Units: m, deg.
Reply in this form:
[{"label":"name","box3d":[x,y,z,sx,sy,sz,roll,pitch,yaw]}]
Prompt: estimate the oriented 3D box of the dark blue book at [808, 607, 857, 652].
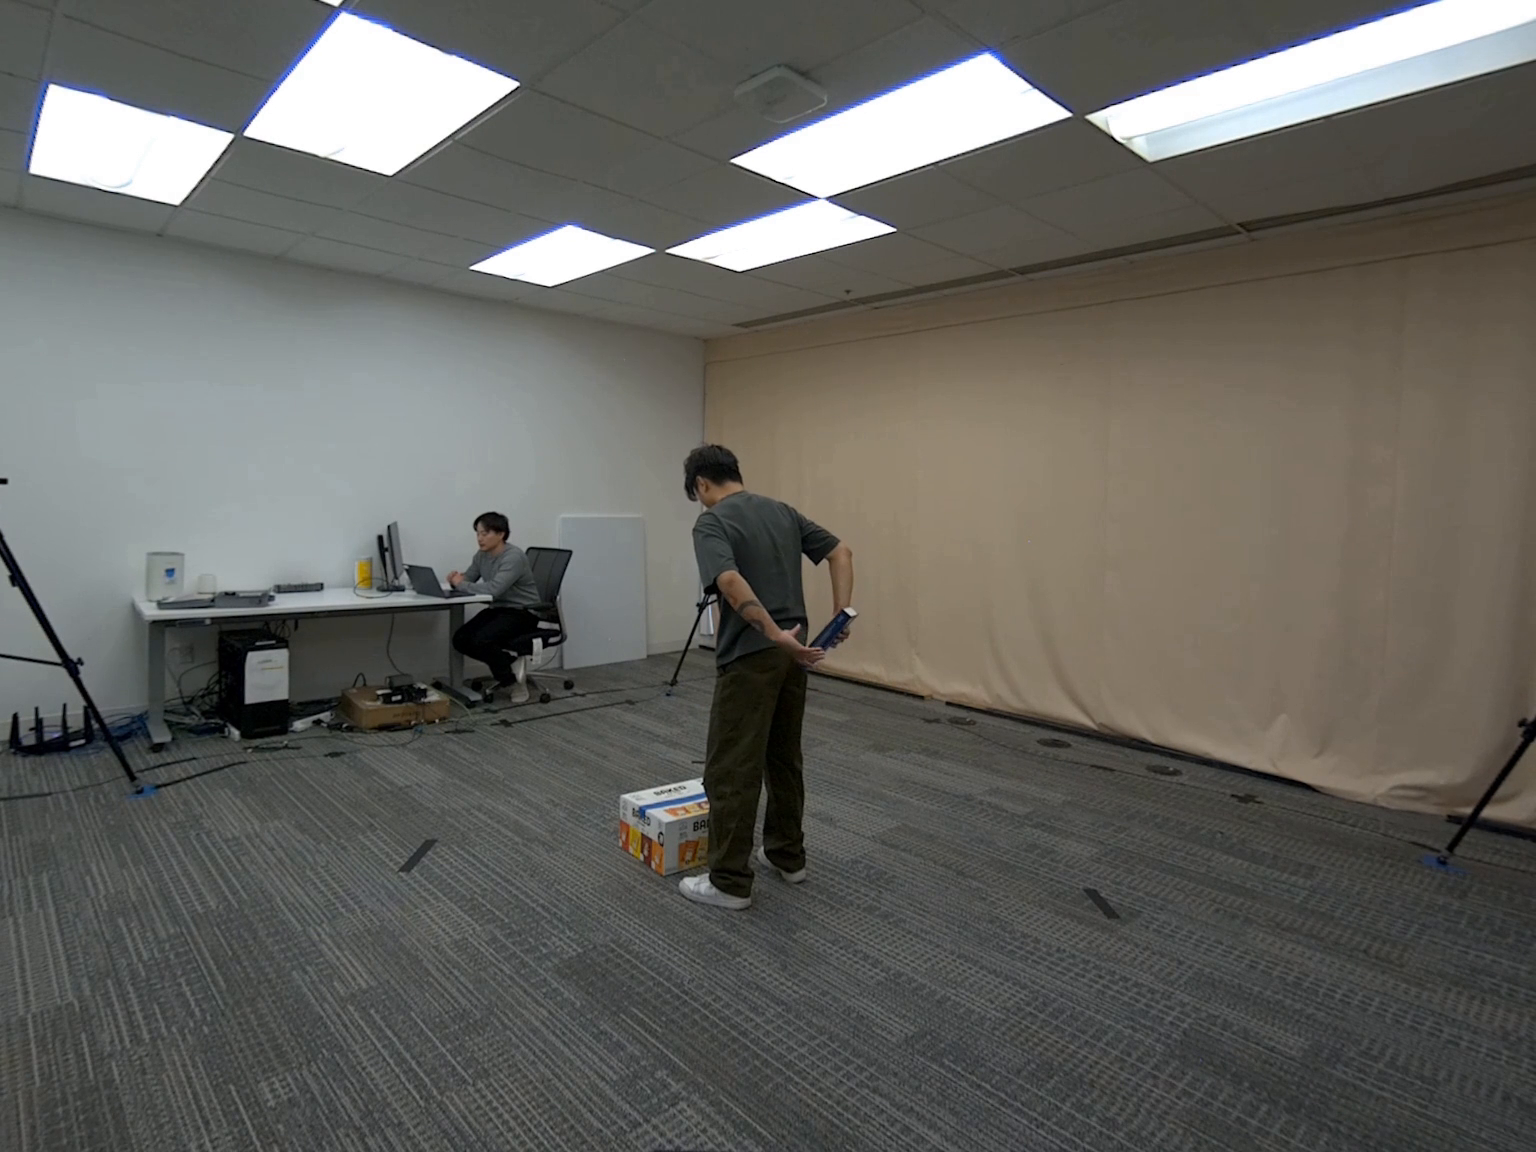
[{"label":"dark blue book","box3d":[0.188,0.210,2.866,0.046,0.245,0.161,42,9,9]}]
